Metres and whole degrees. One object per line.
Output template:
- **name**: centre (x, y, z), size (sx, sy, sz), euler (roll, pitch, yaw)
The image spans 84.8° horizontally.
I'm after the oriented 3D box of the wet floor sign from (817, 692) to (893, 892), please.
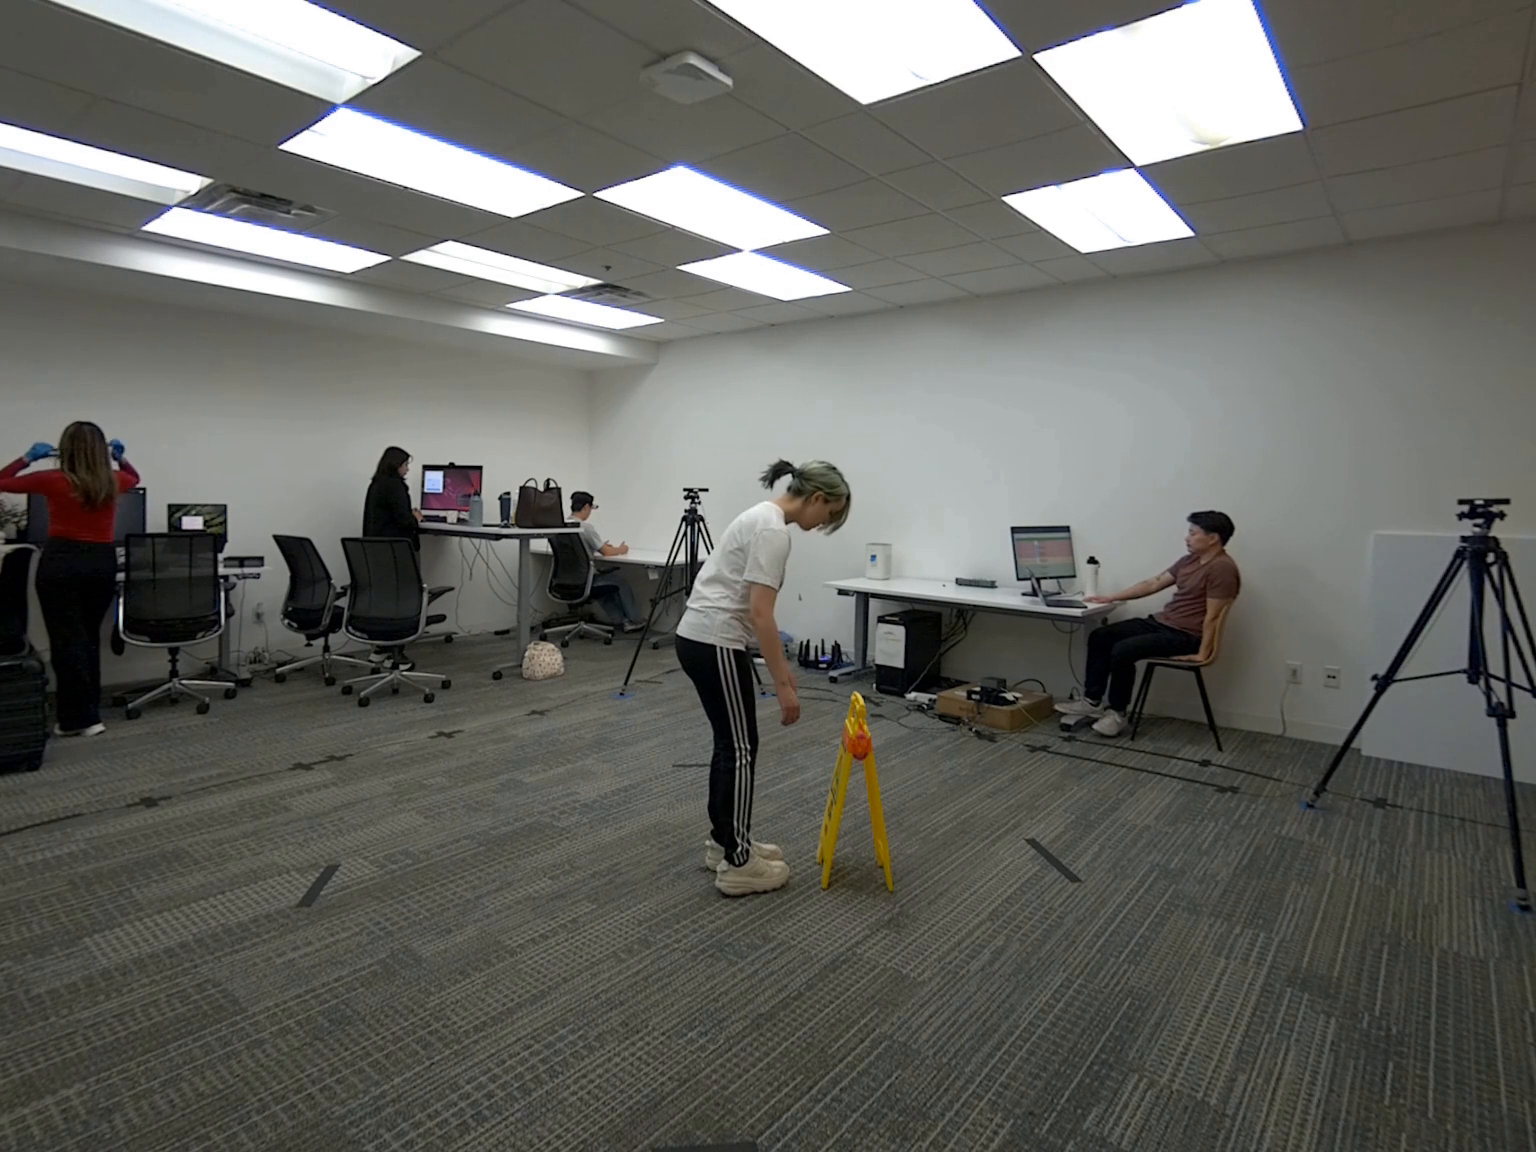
- **wet floor sign**: centre (0.313, 0.762, 3.073), size (0.290, 0.644, 0.283), euler (2, 3, 0)
